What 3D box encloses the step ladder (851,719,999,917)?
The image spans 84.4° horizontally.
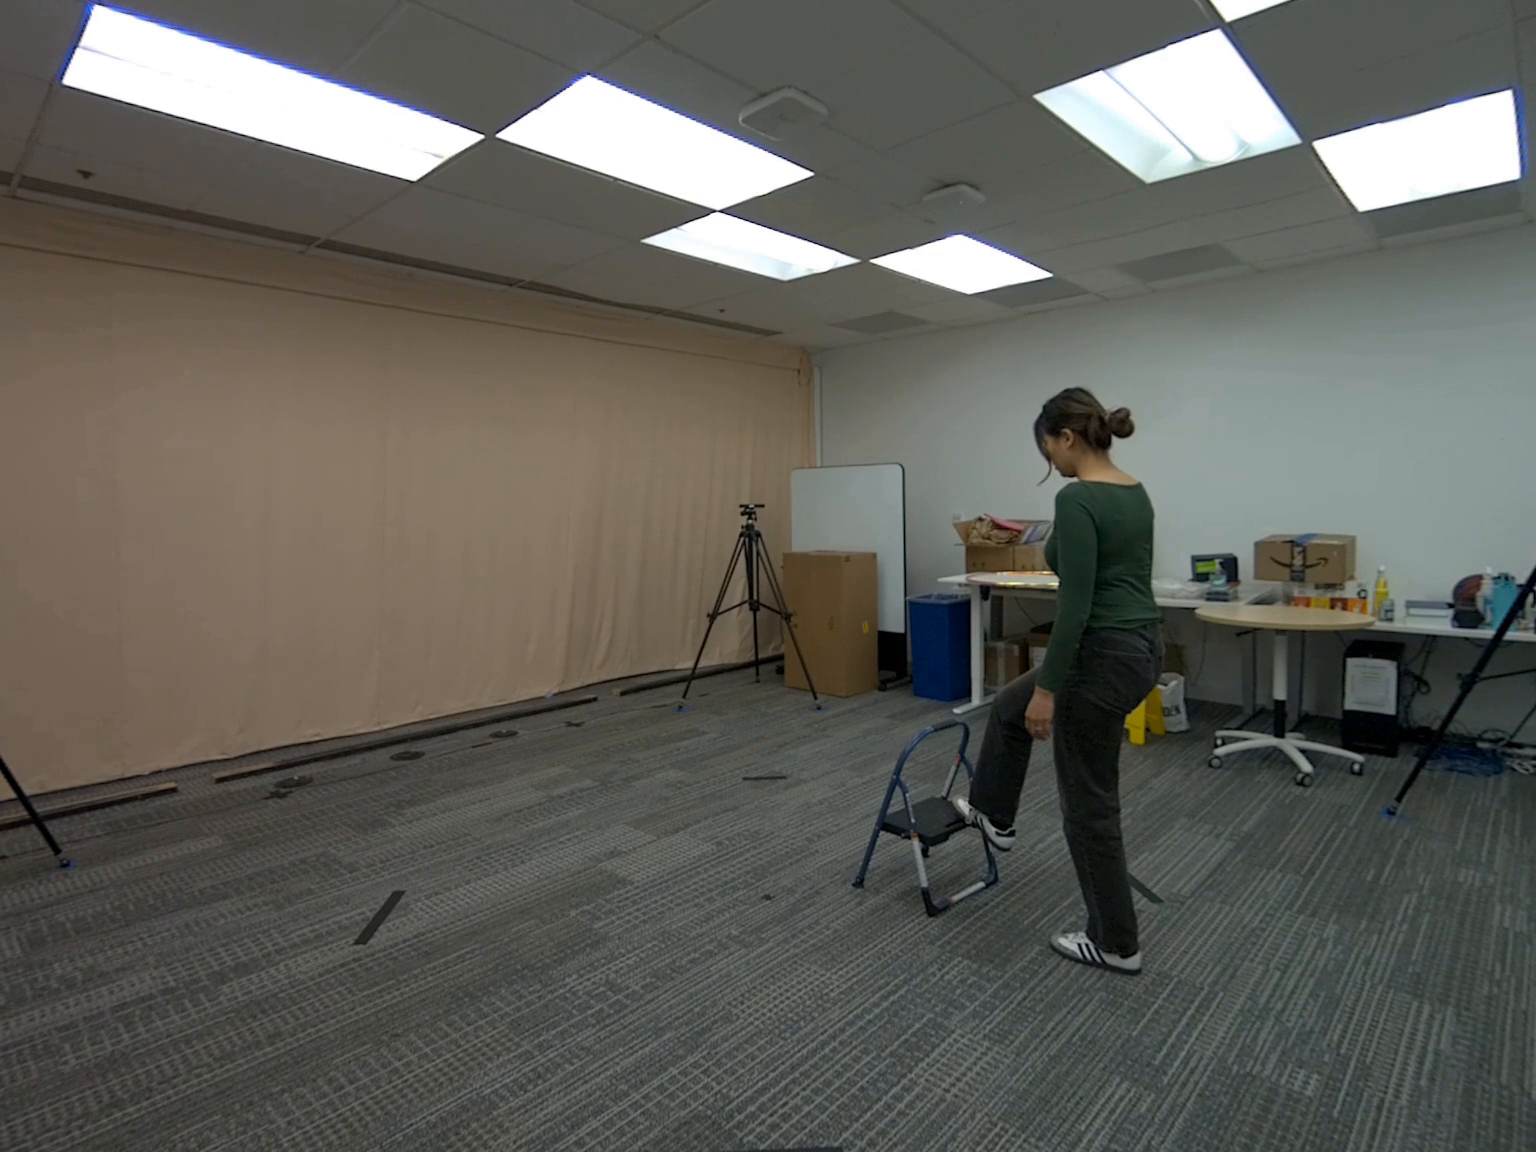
[{"bbox_3d":[0.577,0.818,3.054,0.417,0.605,0.361,-4,5,-43],"label":"step ladder"}]
